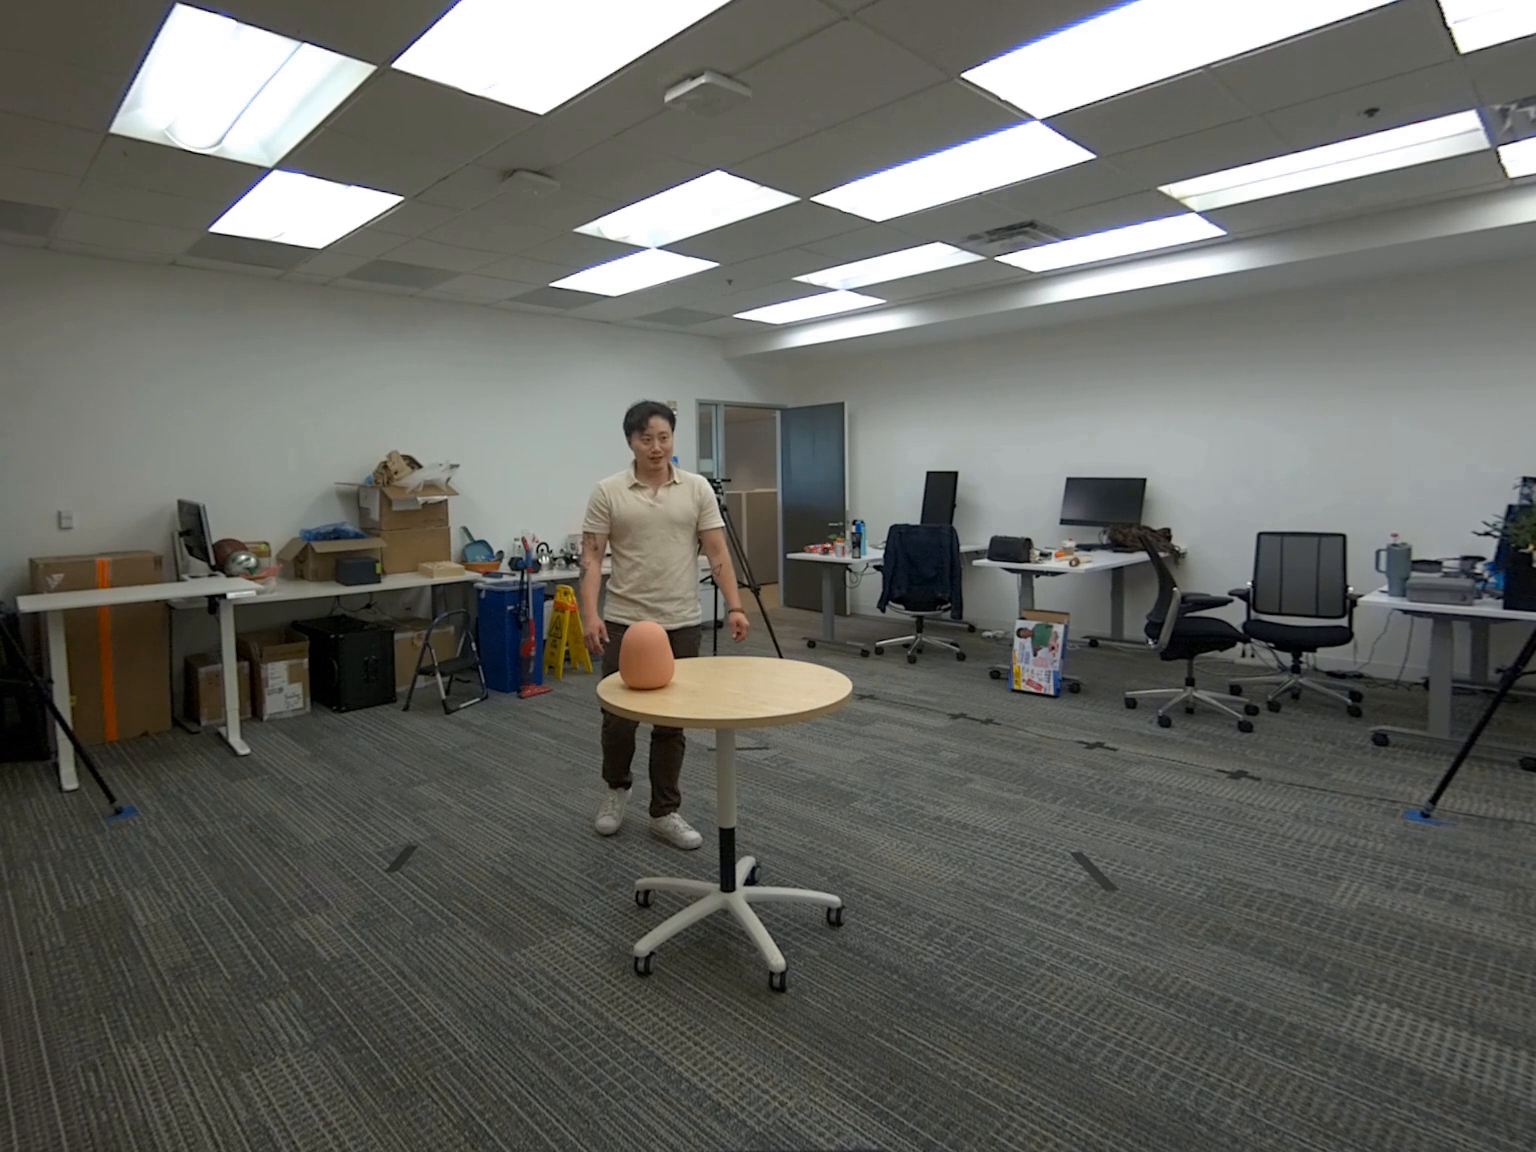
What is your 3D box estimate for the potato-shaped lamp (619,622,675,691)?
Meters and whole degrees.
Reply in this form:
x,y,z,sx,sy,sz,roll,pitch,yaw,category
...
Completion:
x,y,z,sx,sy,sz,roll,pitch,yaw,category
-0.369,0.234,2.549,0.166,0.197,0.171,-6,6,8,potato-shaped lamp
